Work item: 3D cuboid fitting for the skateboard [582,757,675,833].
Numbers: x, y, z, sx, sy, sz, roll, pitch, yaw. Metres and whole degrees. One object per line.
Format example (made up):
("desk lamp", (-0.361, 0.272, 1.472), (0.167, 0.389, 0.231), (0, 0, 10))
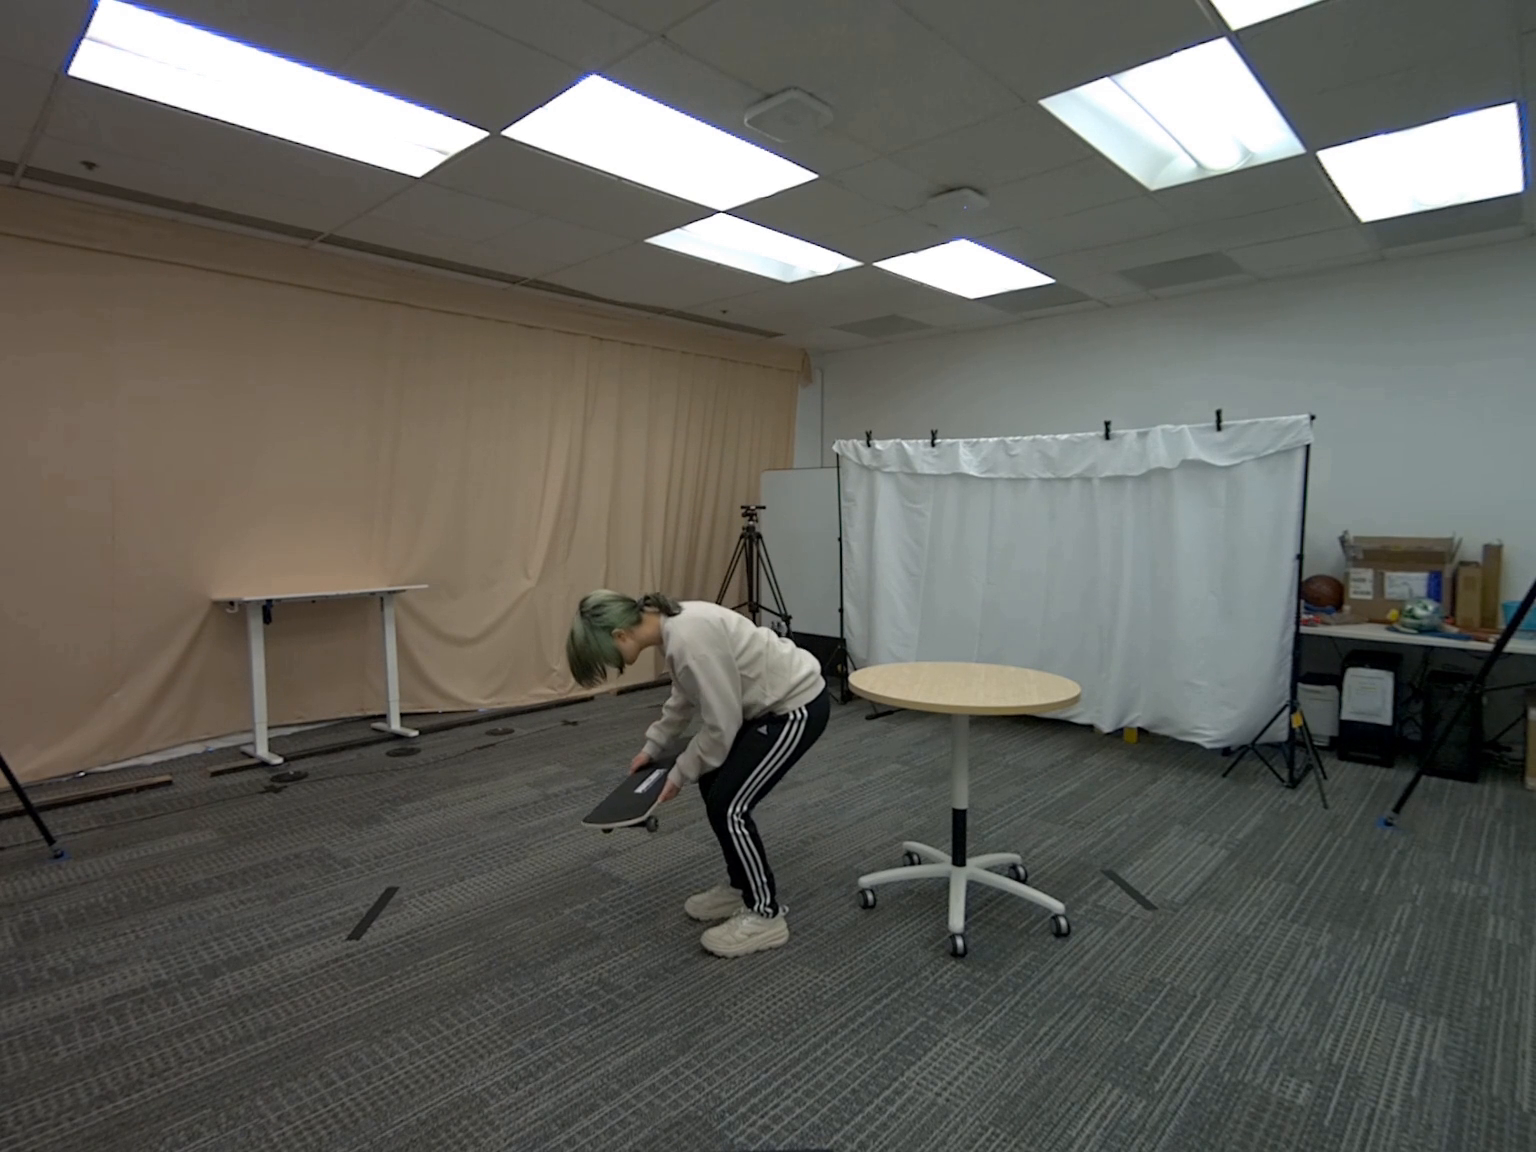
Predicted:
("skateboard", (-0.386, 0.705, 2.780), (0.196, 0.110, 0.776), (-7, 6, 15))
